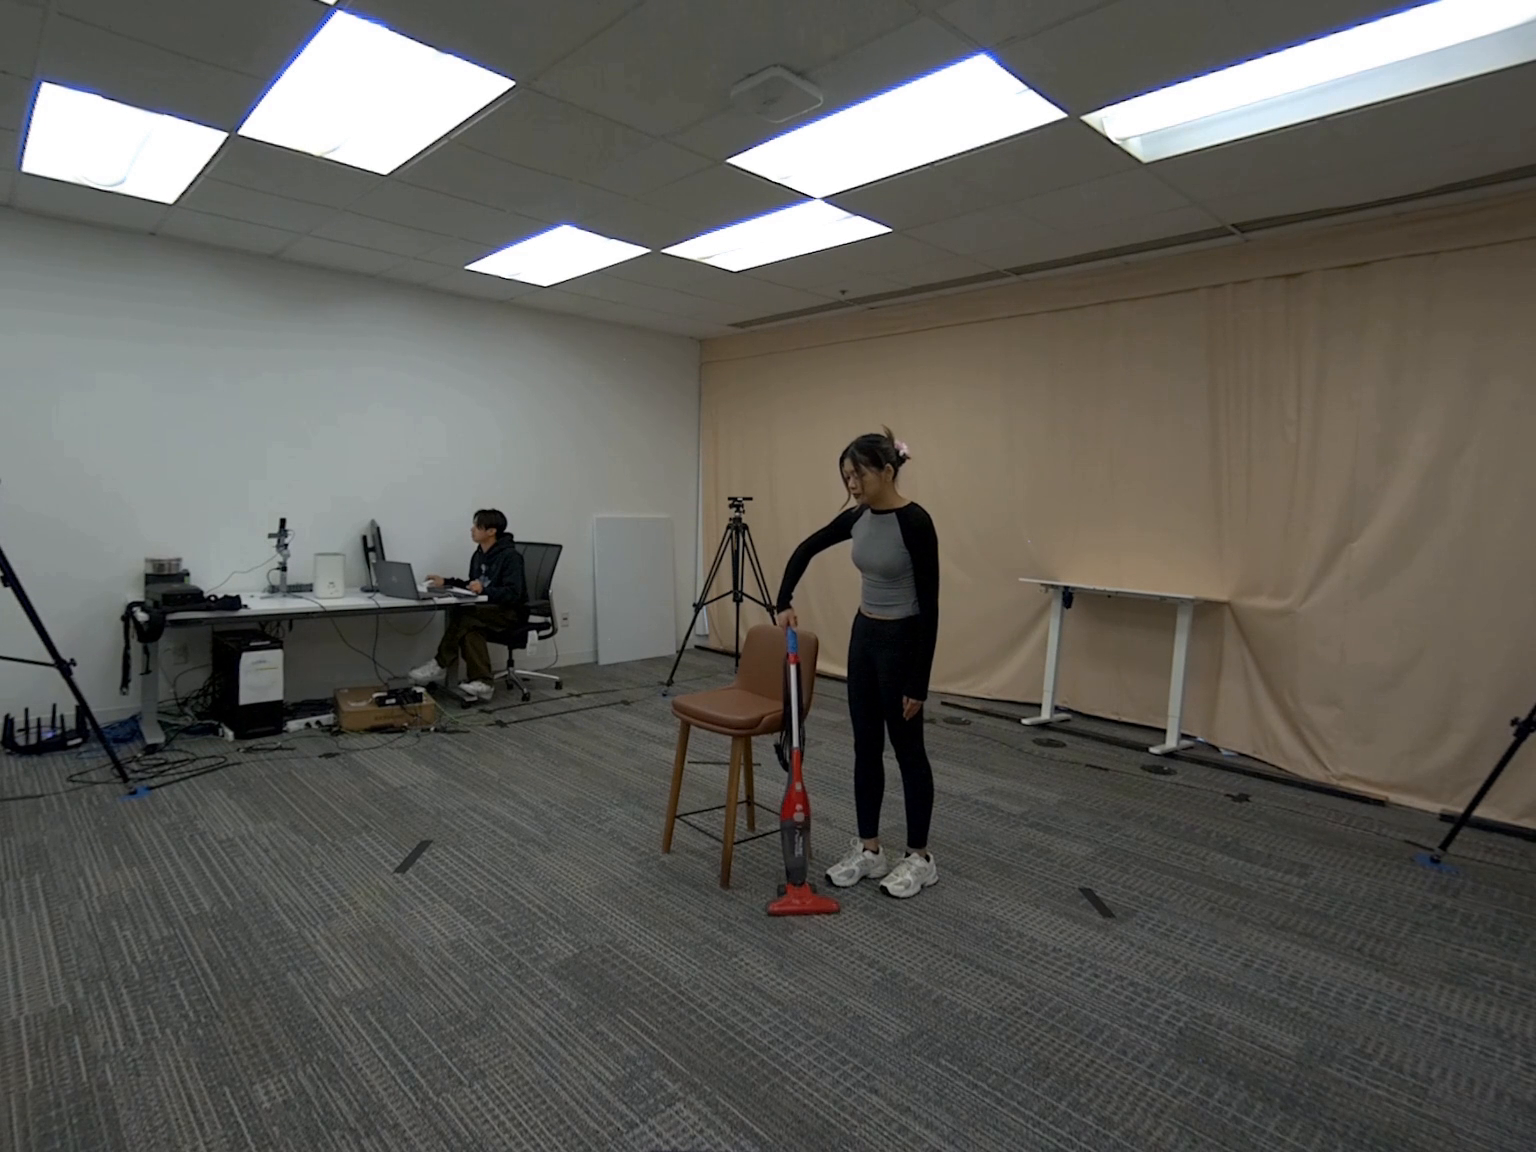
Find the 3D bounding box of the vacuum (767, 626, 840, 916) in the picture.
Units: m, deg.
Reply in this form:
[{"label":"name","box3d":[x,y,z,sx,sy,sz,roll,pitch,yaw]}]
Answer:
[{"label":"vacuum","box3d":[0.078,0.633,3.046,0.250,1.065,0.143,0,-19,-10]}]
